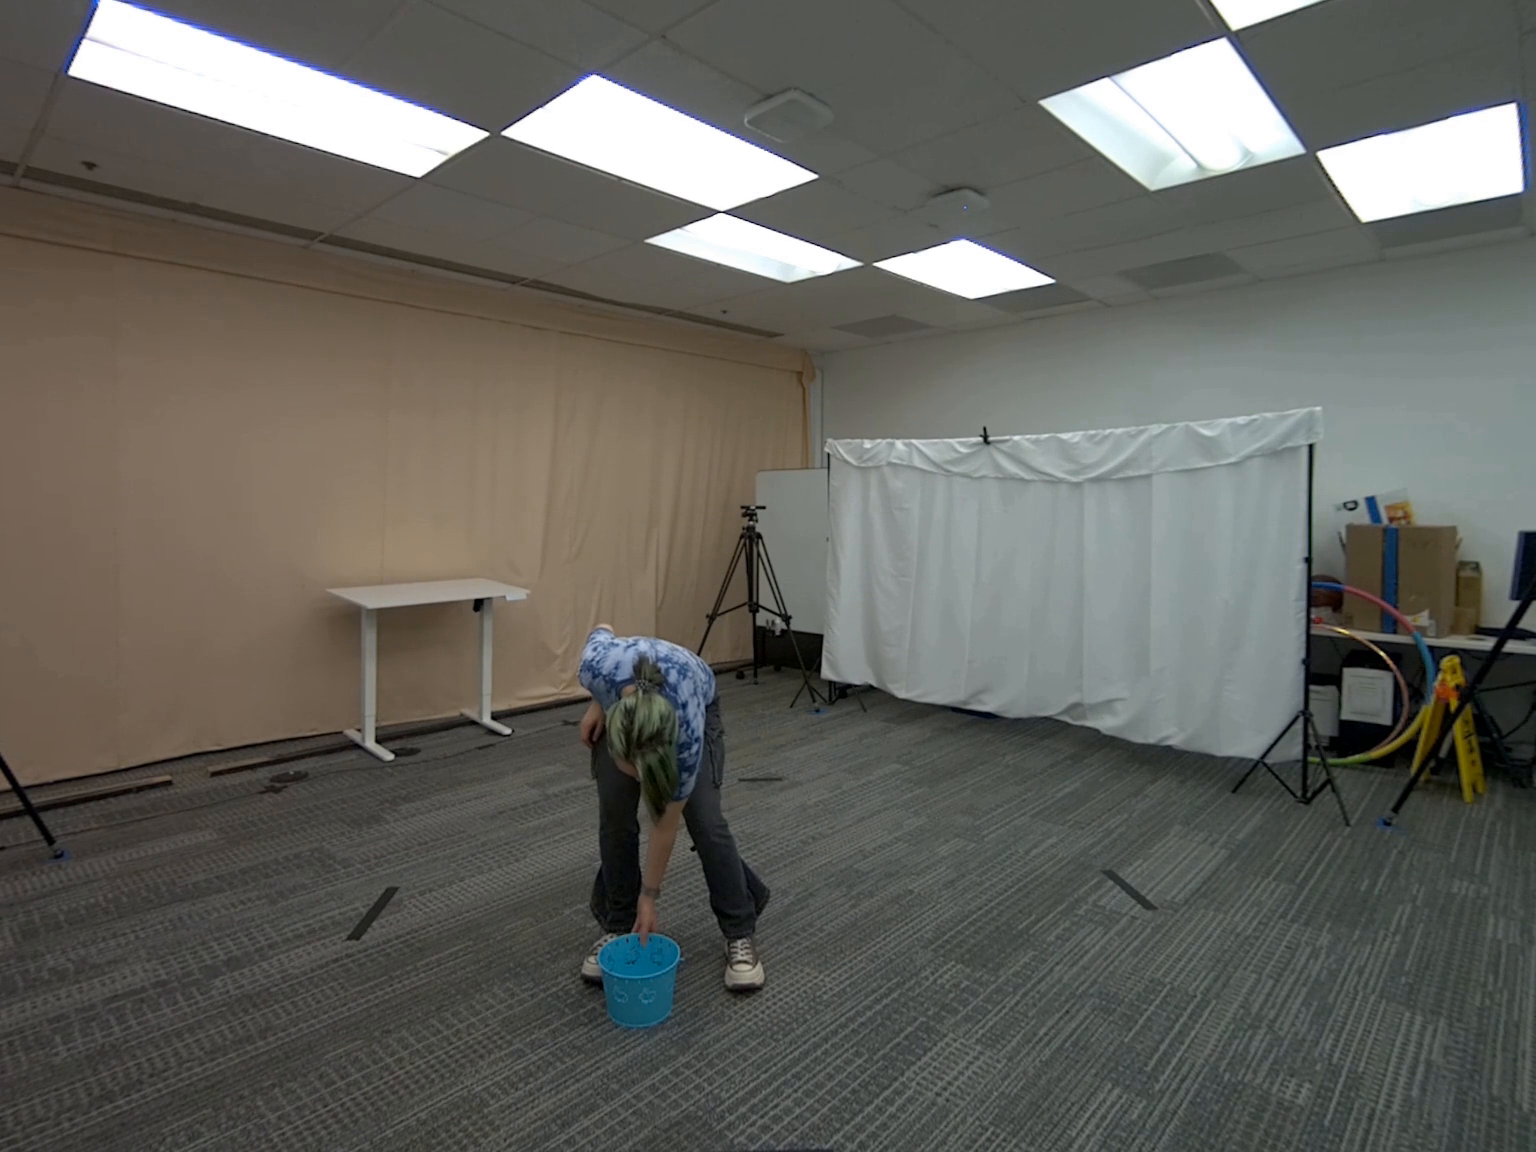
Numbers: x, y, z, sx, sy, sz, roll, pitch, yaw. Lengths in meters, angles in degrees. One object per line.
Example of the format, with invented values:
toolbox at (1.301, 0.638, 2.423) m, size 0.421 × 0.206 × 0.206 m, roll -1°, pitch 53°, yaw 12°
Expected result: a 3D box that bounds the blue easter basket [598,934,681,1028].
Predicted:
blue easter basket at (-0.345, 1.121, 2.336) m, size 0.243 × 0.155 × 0.244 m, roll 0°, pitch 5°, yaw -2°
